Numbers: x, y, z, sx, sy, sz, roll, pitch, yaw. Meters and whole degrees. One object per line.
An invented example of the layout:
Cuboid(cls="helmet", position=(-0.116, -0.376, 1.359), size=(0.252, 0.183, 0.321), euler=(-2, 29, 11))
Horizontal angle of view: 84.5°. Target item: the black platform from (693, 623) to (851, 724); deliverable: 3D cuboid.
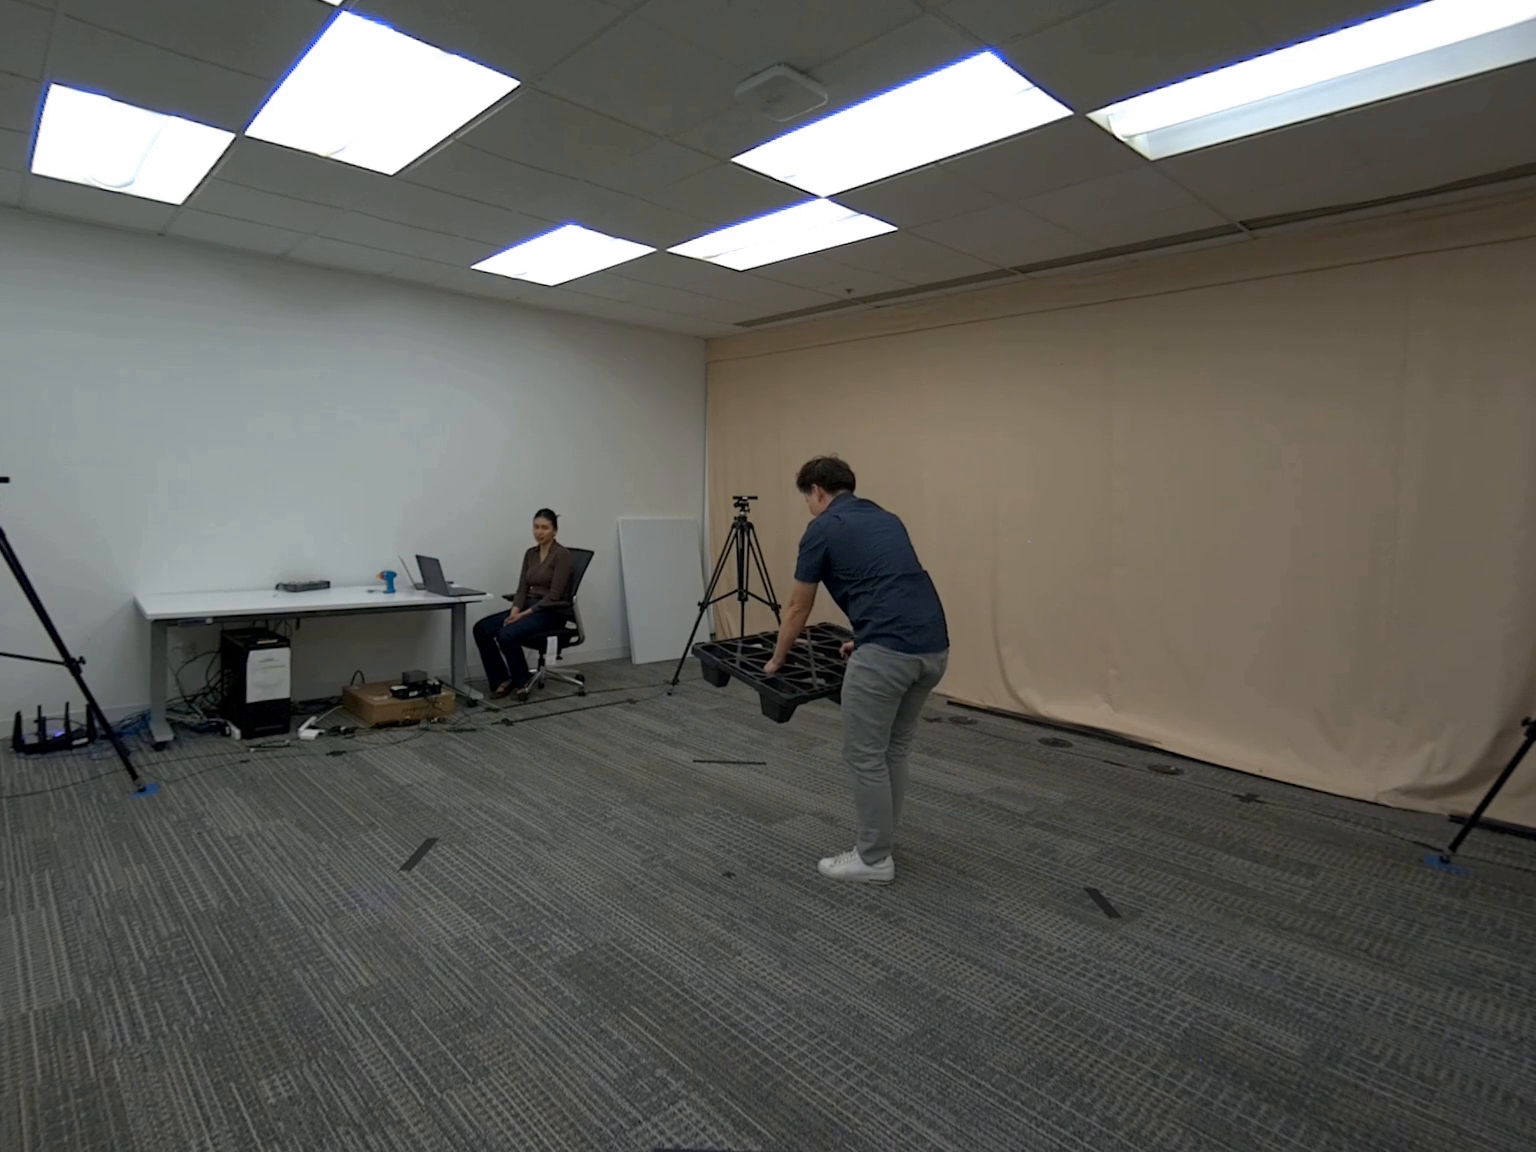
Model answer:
Cuboid(cls="black platform", position=(0.171, 0.390, 3.446), size=(0.788, 0.142, 0.623), euler=(-6, 19, -39))
